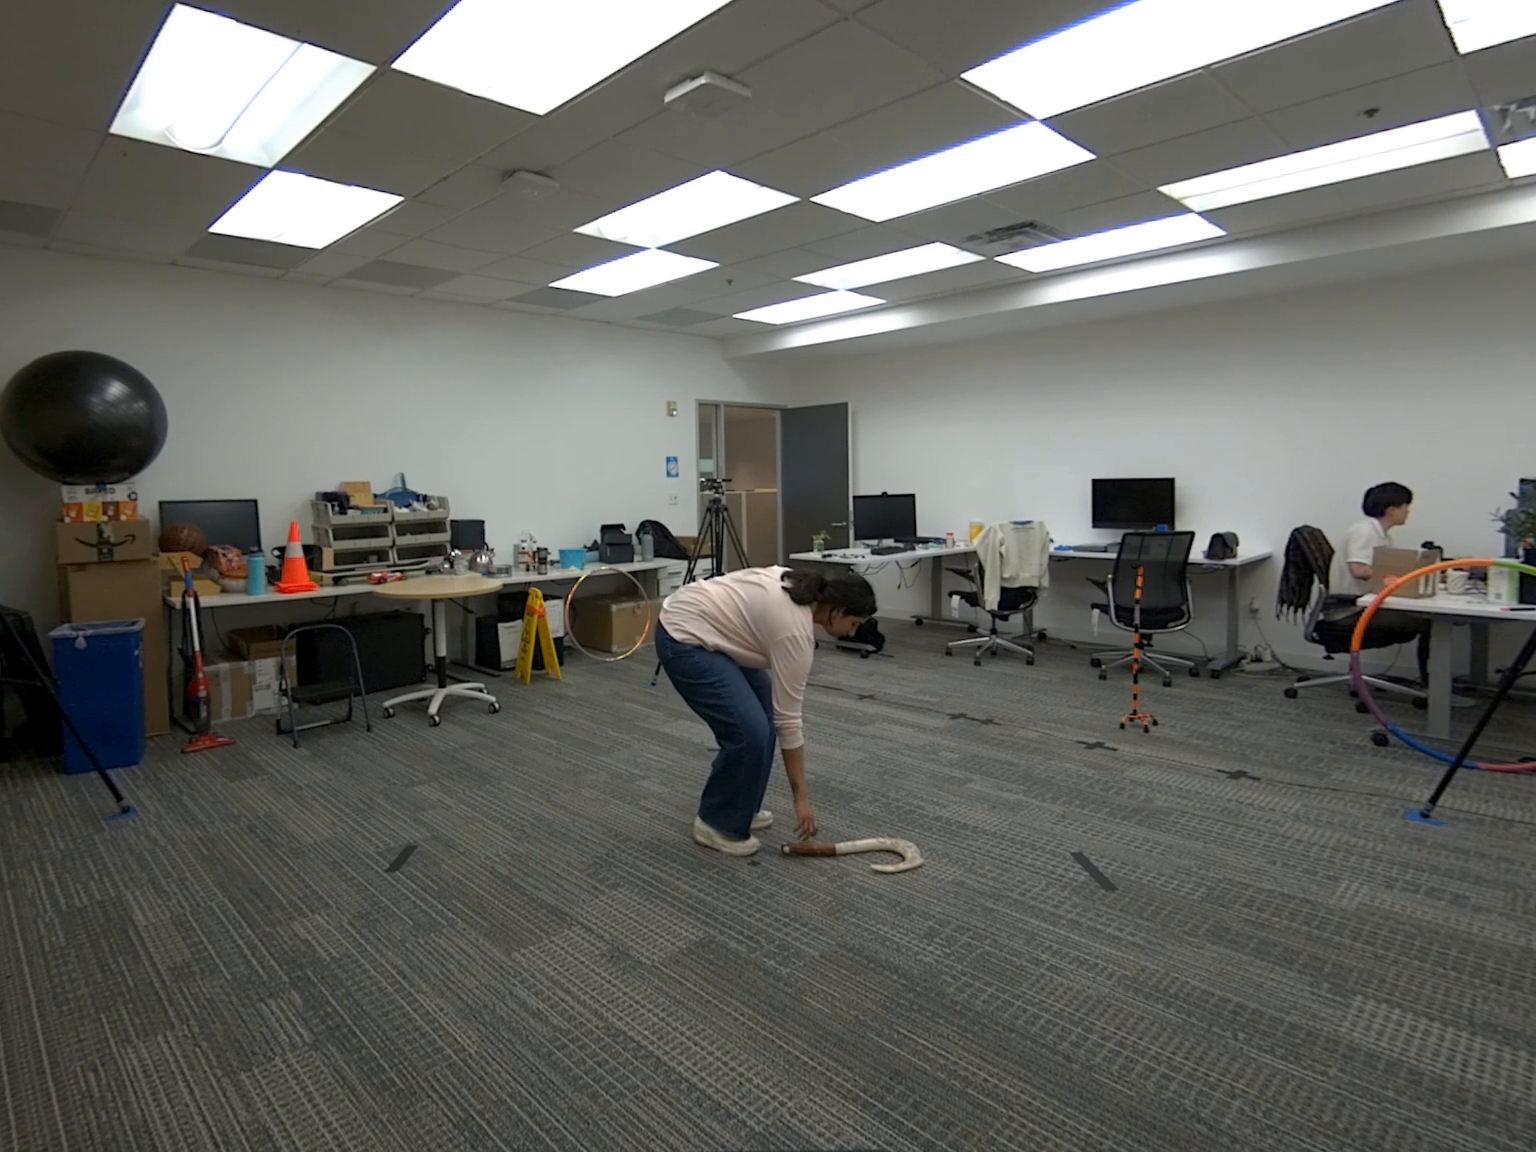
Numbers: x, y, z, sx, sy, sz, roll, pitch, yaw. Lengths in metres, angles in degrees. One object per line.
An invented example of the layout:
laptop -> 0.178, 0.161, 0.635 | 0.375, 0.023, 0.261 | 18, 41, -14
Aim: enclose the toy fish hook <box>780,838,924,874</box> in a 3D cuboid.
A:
toy fish hook -> 0.304, 1.006, 3.108 | 0.507, 0.048, 0.225 | -1, 5, 0
